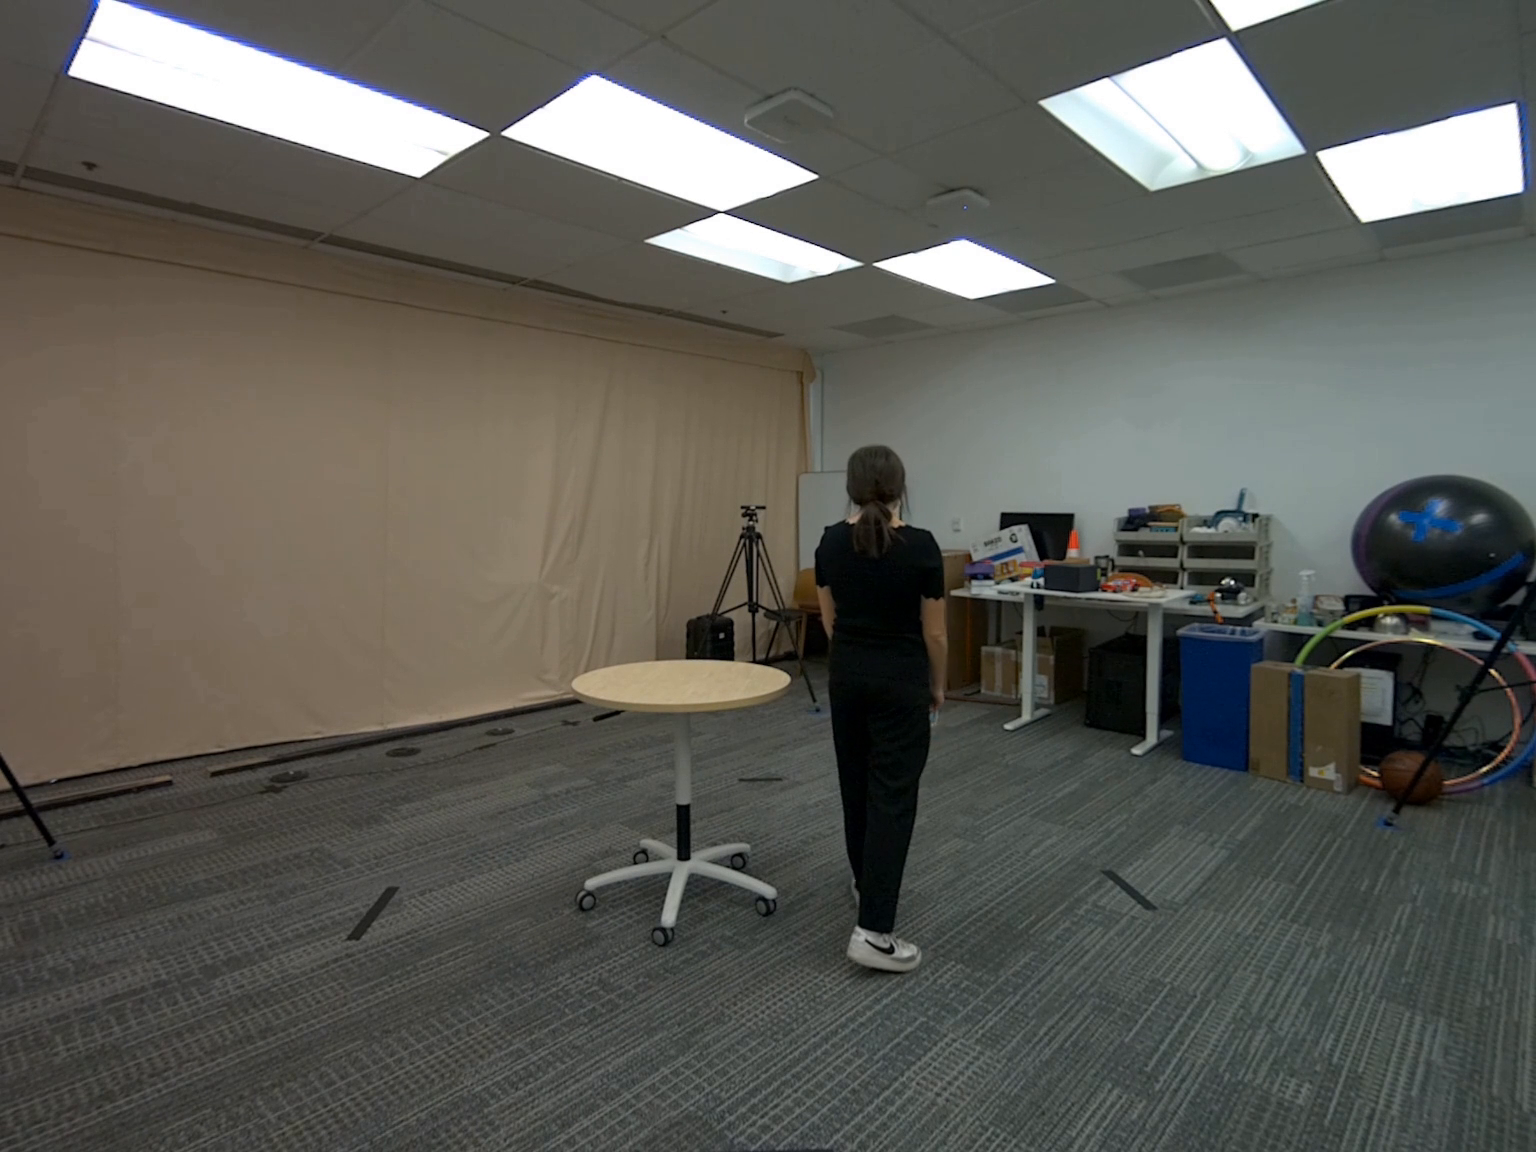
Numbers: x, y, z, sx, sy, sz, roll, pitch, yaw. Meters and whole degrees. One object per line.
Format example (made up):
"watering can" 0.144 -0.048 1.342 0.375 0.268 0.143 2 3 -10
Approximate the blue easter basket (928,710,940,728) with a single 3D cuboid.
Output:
"blue easter basket" 0.488 0.473 2.951 0.243 0.156 0.244 5 1 -2
